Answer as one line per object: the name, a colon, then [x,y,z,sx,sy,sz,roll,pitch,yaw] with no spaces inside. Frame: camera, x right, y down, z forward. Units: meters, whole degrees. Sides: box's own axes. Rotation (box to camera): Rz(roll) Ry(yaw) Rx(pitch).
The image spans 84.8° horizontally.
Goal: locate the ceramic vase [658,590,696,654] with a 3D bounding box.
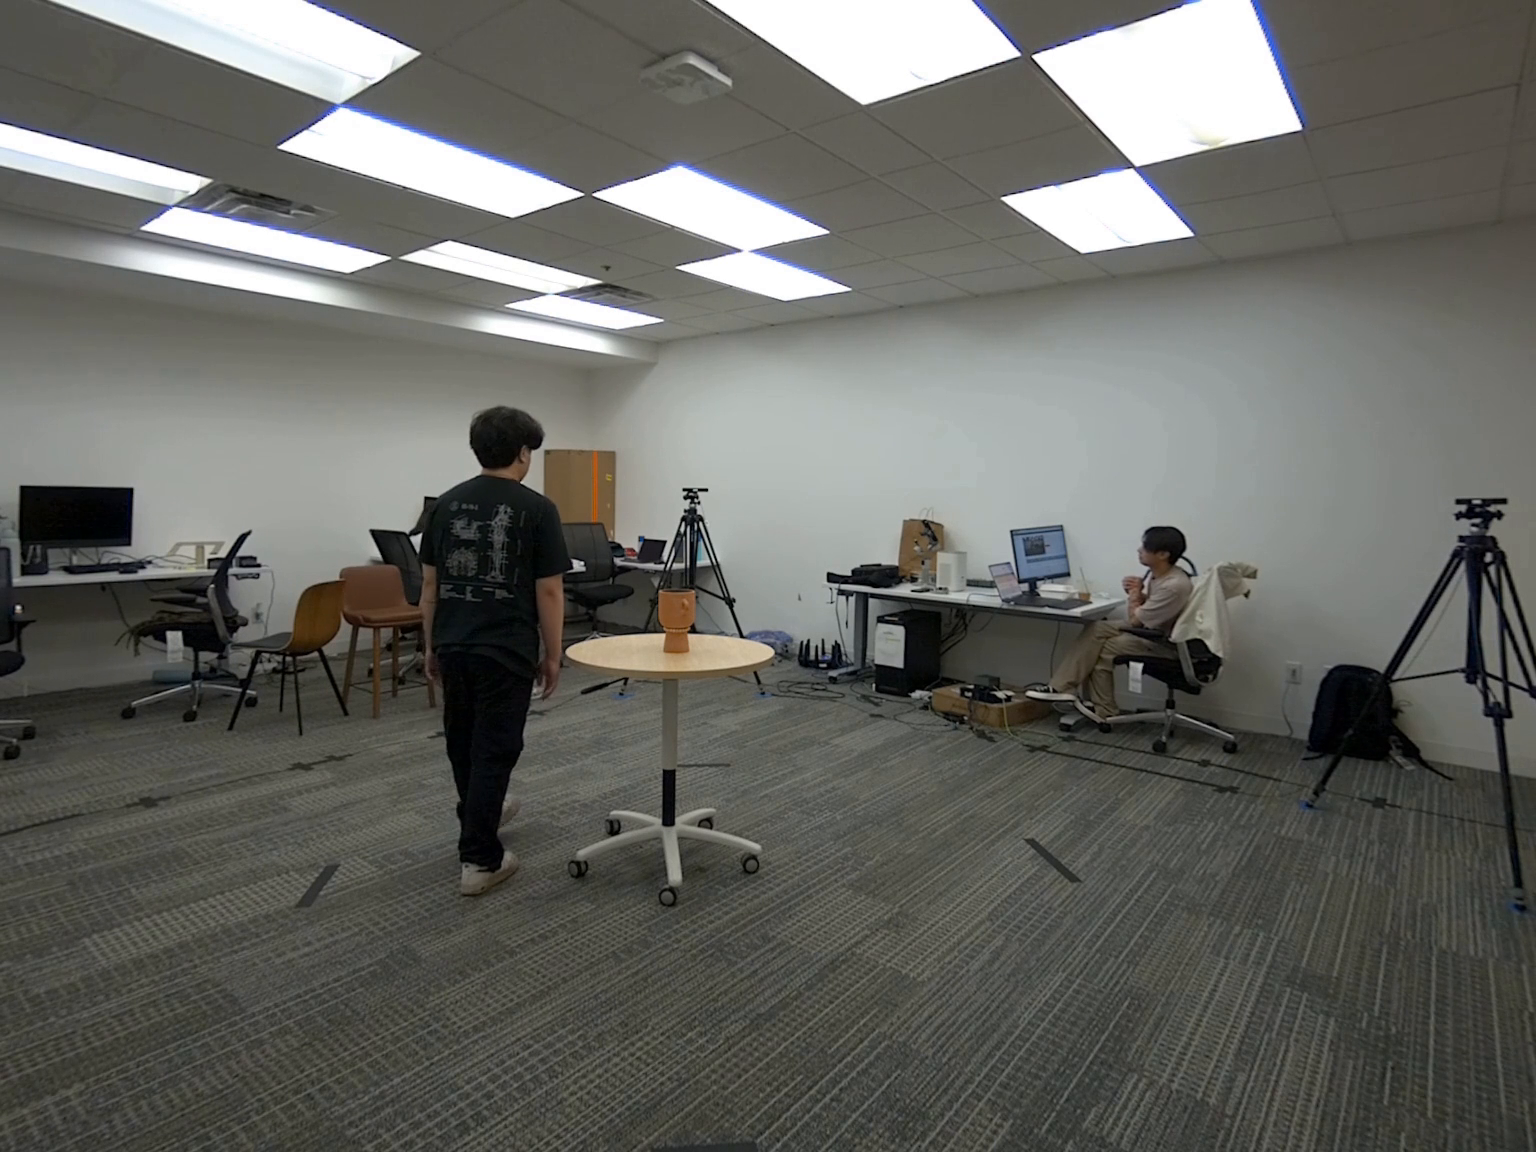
ceramic vase: [-0.350,0.166,3.114,0.136,0.219,0.157,2,3,12]
